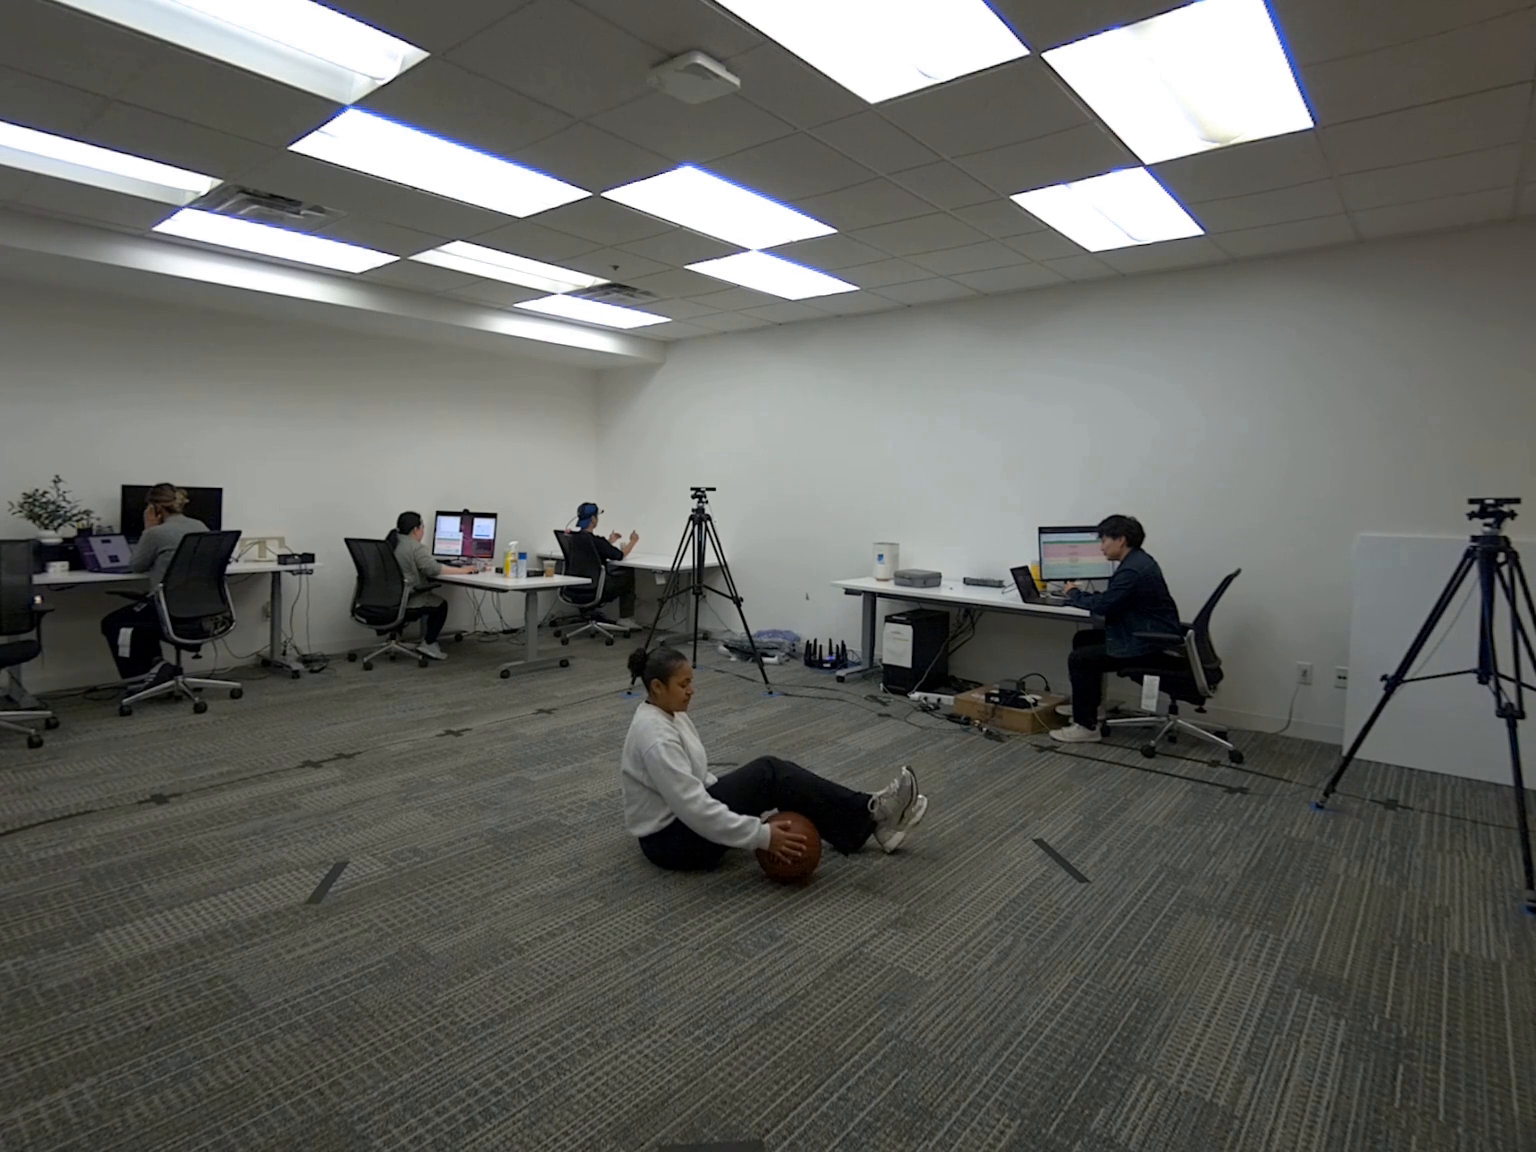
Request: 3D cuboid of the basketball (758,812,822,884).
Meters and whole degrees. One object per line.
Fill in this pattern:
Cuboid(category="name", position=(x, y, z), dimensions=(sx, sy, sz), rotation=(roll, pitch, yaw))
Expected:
Cuboid(category="basketball", position=(0.055, 0.965, 3.026), dimensions=(0.235, 0.235, 0.237), rotation=(1, 4, -2))
